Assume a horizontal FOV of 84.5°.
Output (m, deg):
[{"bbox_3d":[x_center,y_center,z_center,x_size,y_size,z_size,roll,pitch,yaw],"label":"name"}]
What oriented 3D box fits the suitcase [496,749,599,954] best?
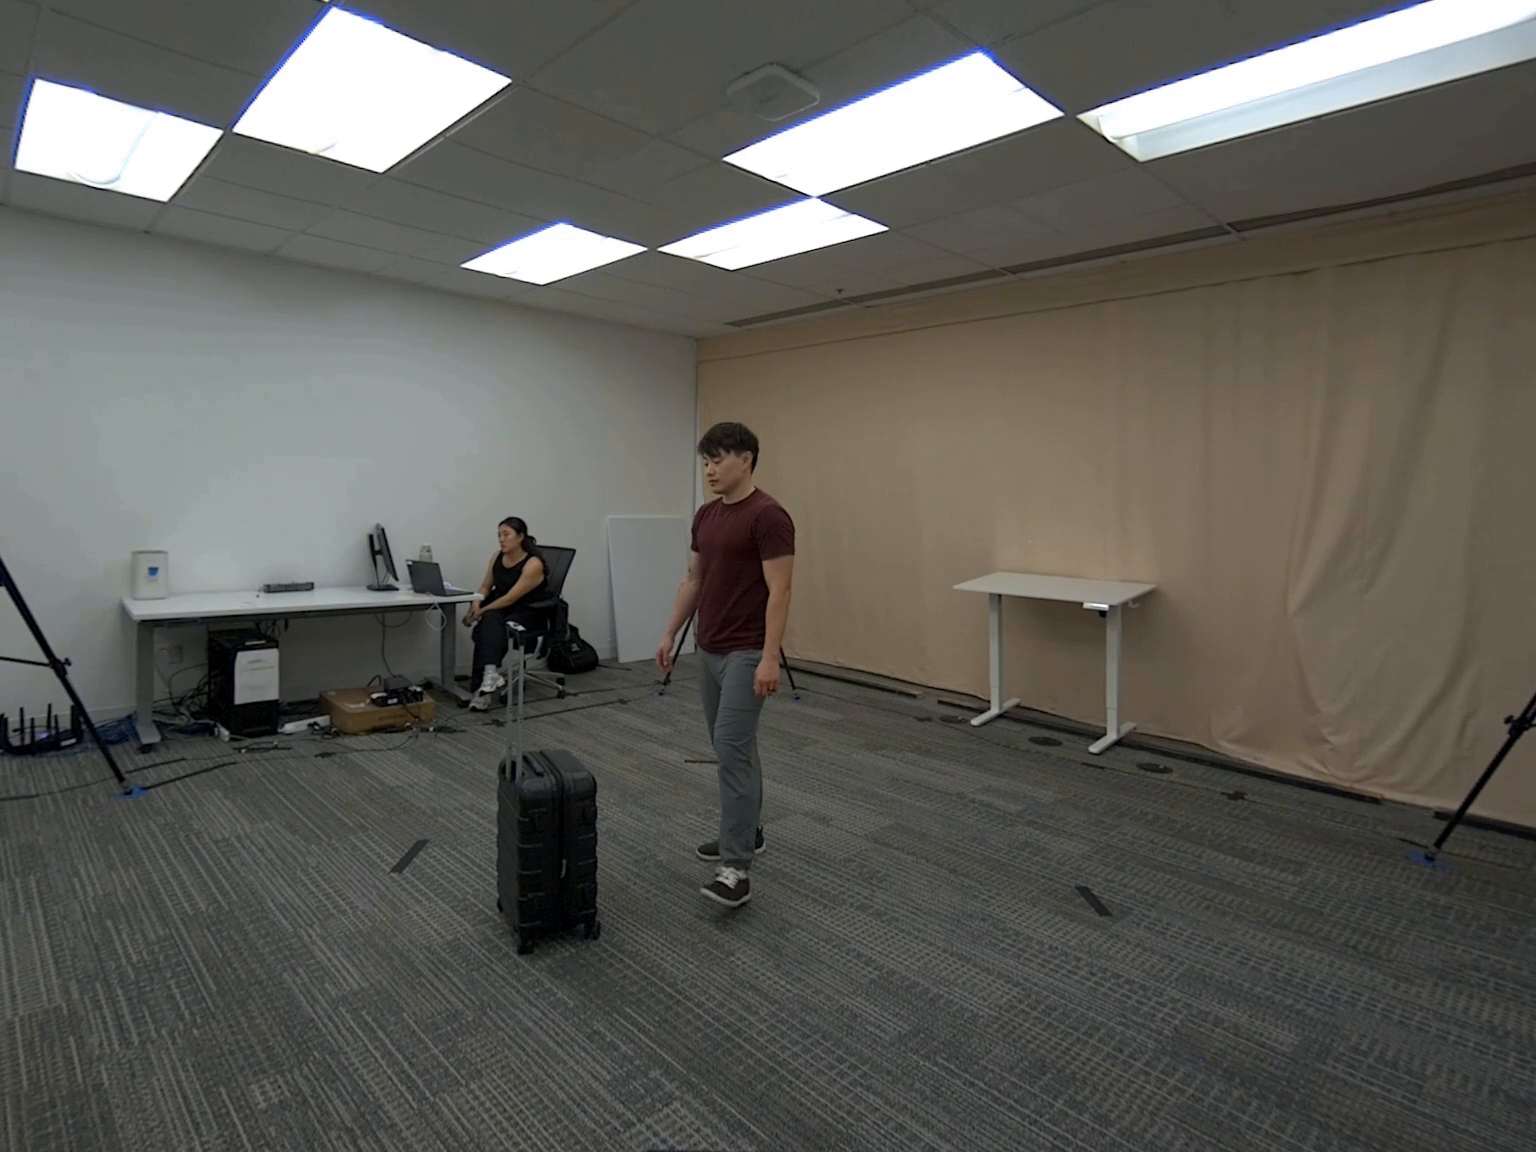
[{"bbox_3d":[-0.703,0.648,2.678,0.252,0.975,0.392,0,5,-26],"label":"suitcase"}]
